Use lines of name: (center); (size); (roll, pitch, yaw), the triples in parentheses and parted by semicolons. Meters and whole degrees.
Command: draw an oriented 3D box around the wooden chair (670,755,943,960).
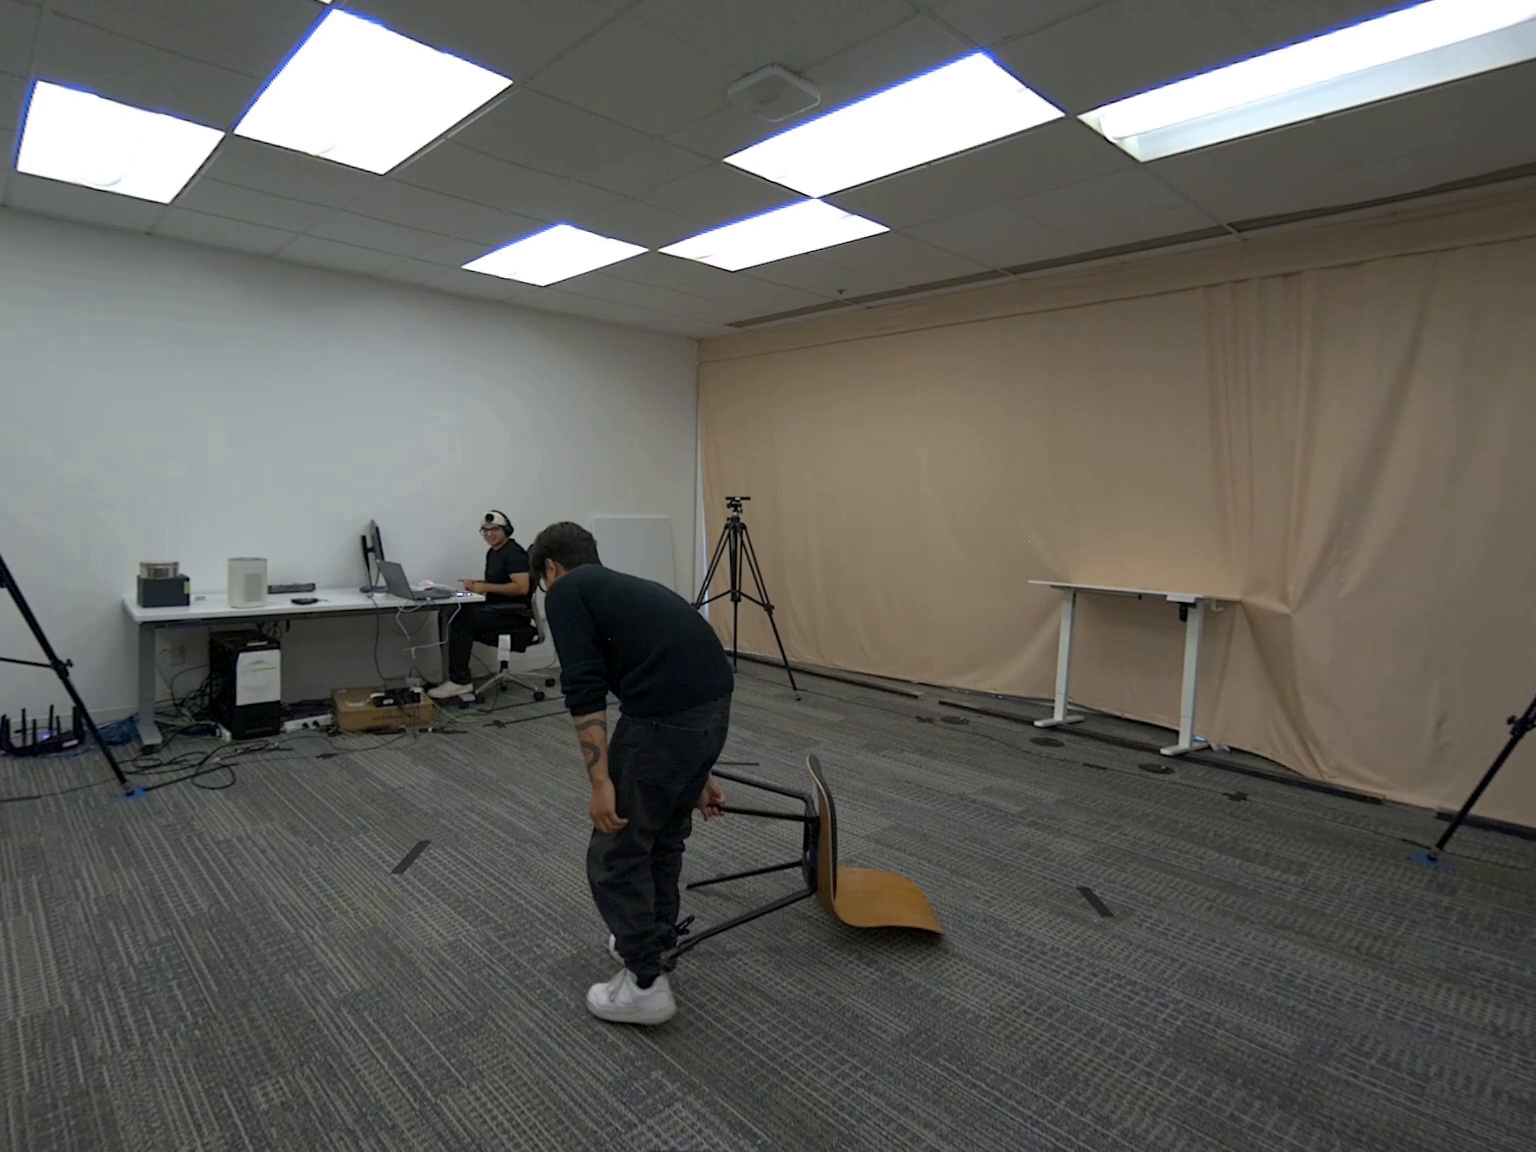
wooden chair: (0.135, 0.882, 2.763); (0.877, 0.523, 0.478); (3, 1, 0)
